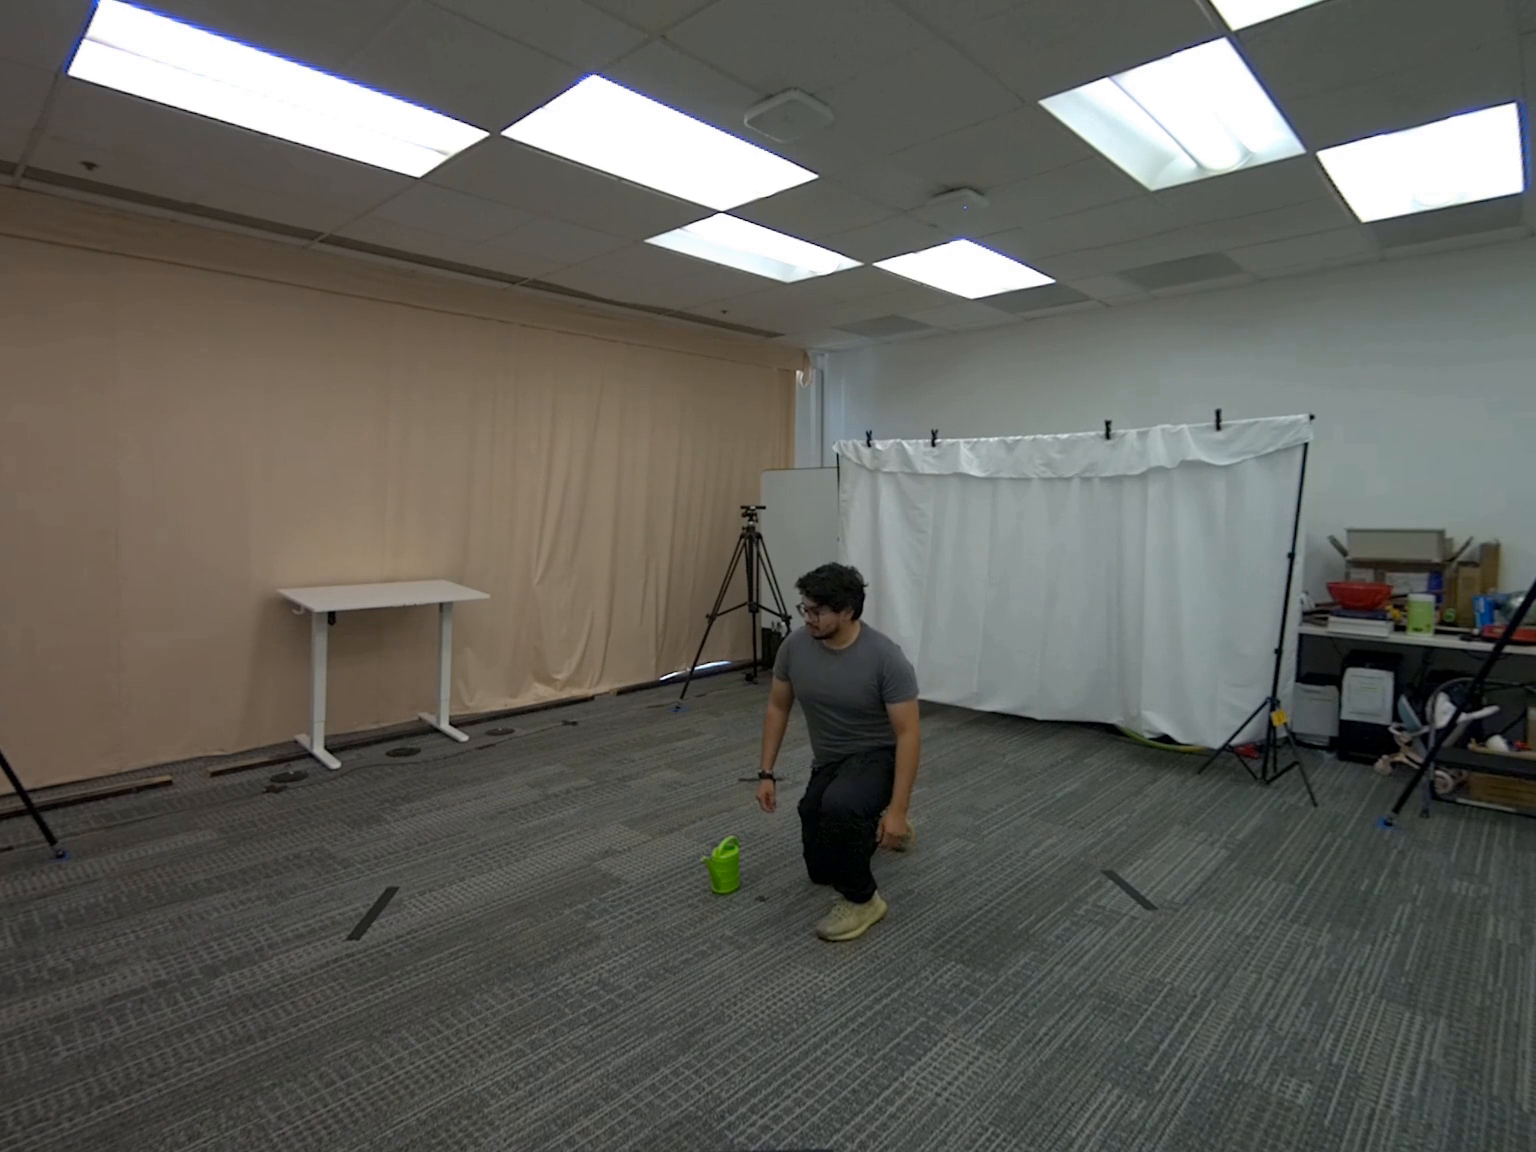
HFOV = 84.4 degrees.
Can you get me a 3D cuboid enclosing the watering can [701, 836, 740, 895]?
[{"bbox_3d":[-0.179,1.053,3.037,0.101,0.176,0.270,1,4,39],"label":"watering can"}]
